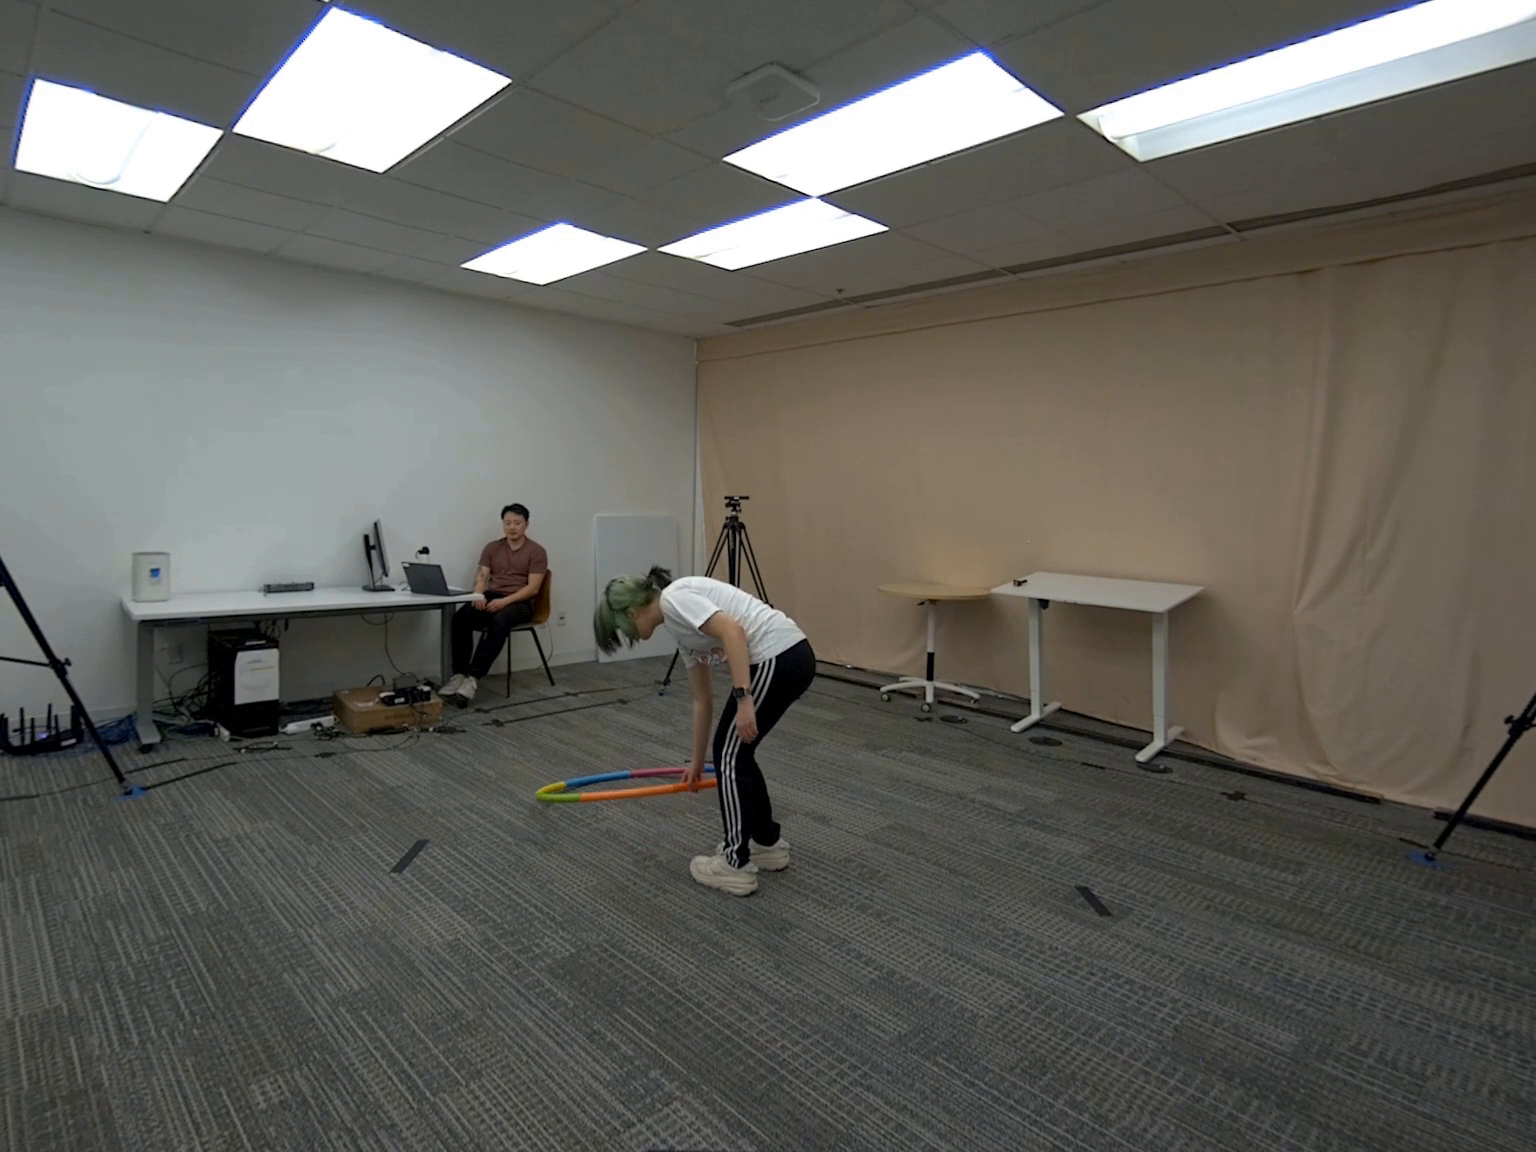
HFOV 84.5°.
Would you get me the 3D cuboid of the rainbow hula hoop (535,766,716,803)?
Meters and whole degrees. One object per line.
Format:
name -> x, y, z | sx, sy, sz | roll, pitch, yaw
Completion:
rainbow hula hoop -> -0.538, 0.903, 3.720 | 0.977, 0.036, 0.973 | -5, -7, -2
